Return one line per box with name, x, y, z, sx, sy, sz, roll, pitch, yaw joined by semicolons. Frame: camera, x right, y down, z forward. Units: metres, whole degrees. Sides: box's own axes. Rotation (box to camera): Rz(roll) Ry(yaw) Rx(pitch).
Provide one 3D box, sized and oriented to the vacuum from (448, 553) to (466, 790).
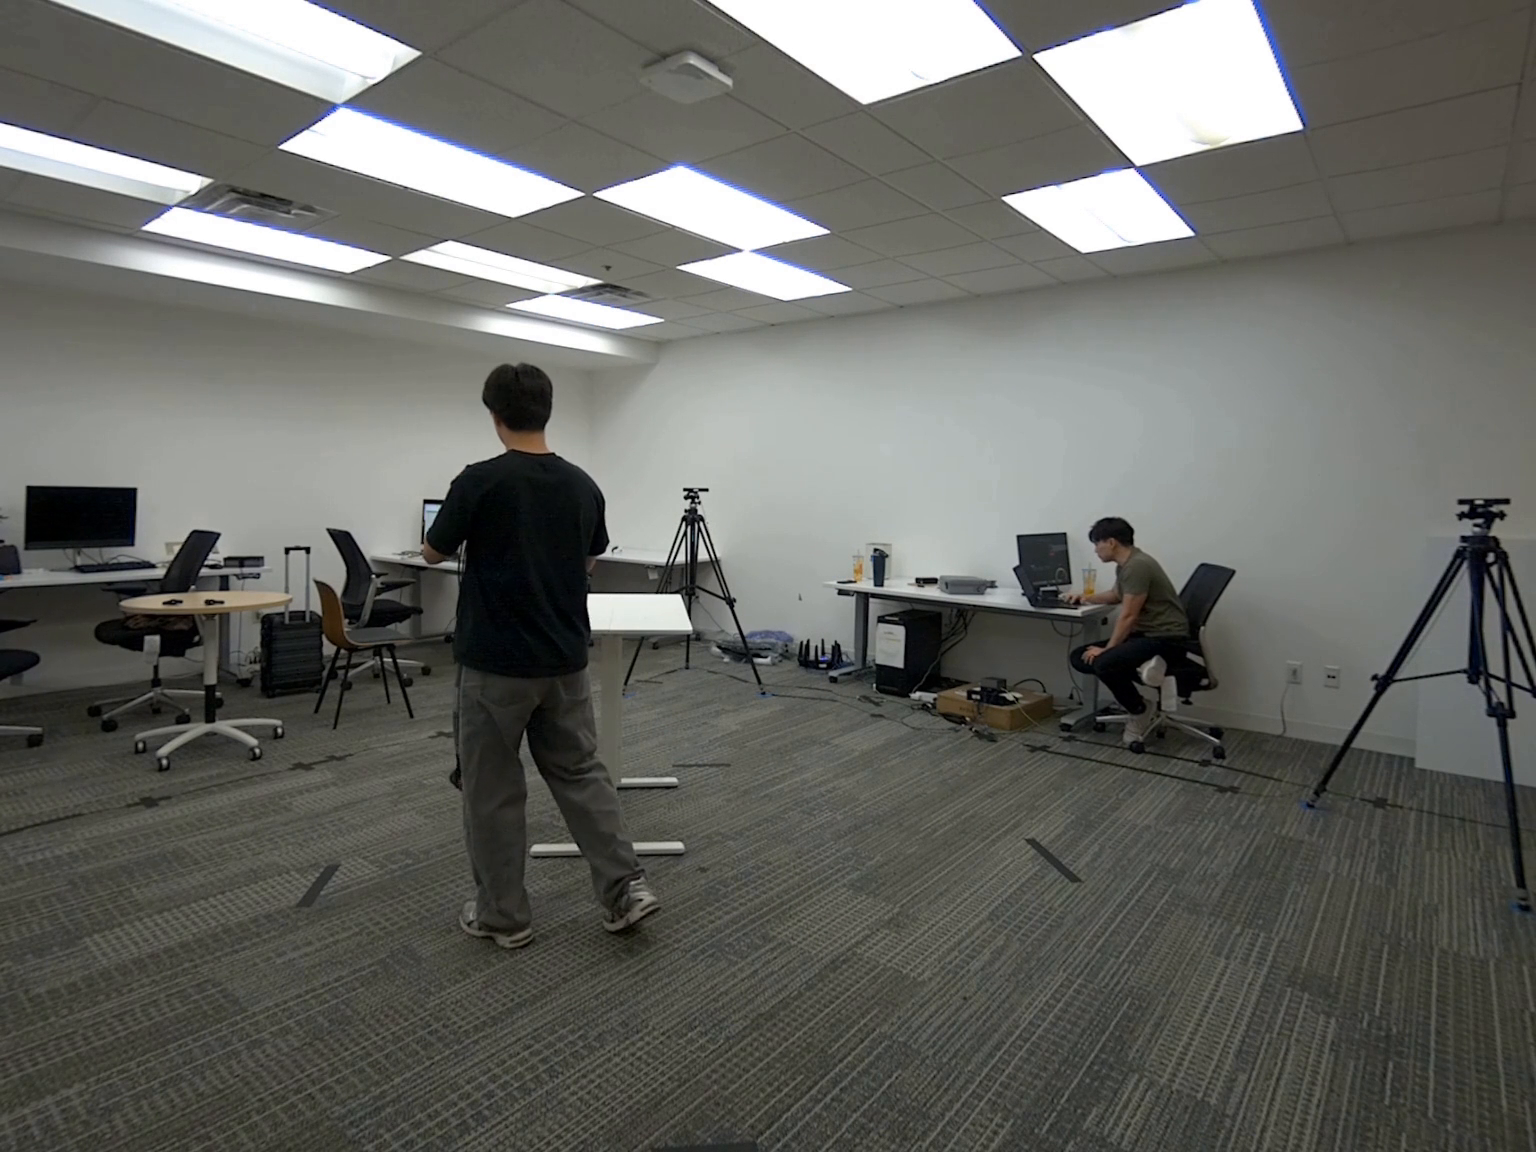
vacuum;-0.991;0.199;2.813;0.140;1.046;0.261;-3;4;-37
